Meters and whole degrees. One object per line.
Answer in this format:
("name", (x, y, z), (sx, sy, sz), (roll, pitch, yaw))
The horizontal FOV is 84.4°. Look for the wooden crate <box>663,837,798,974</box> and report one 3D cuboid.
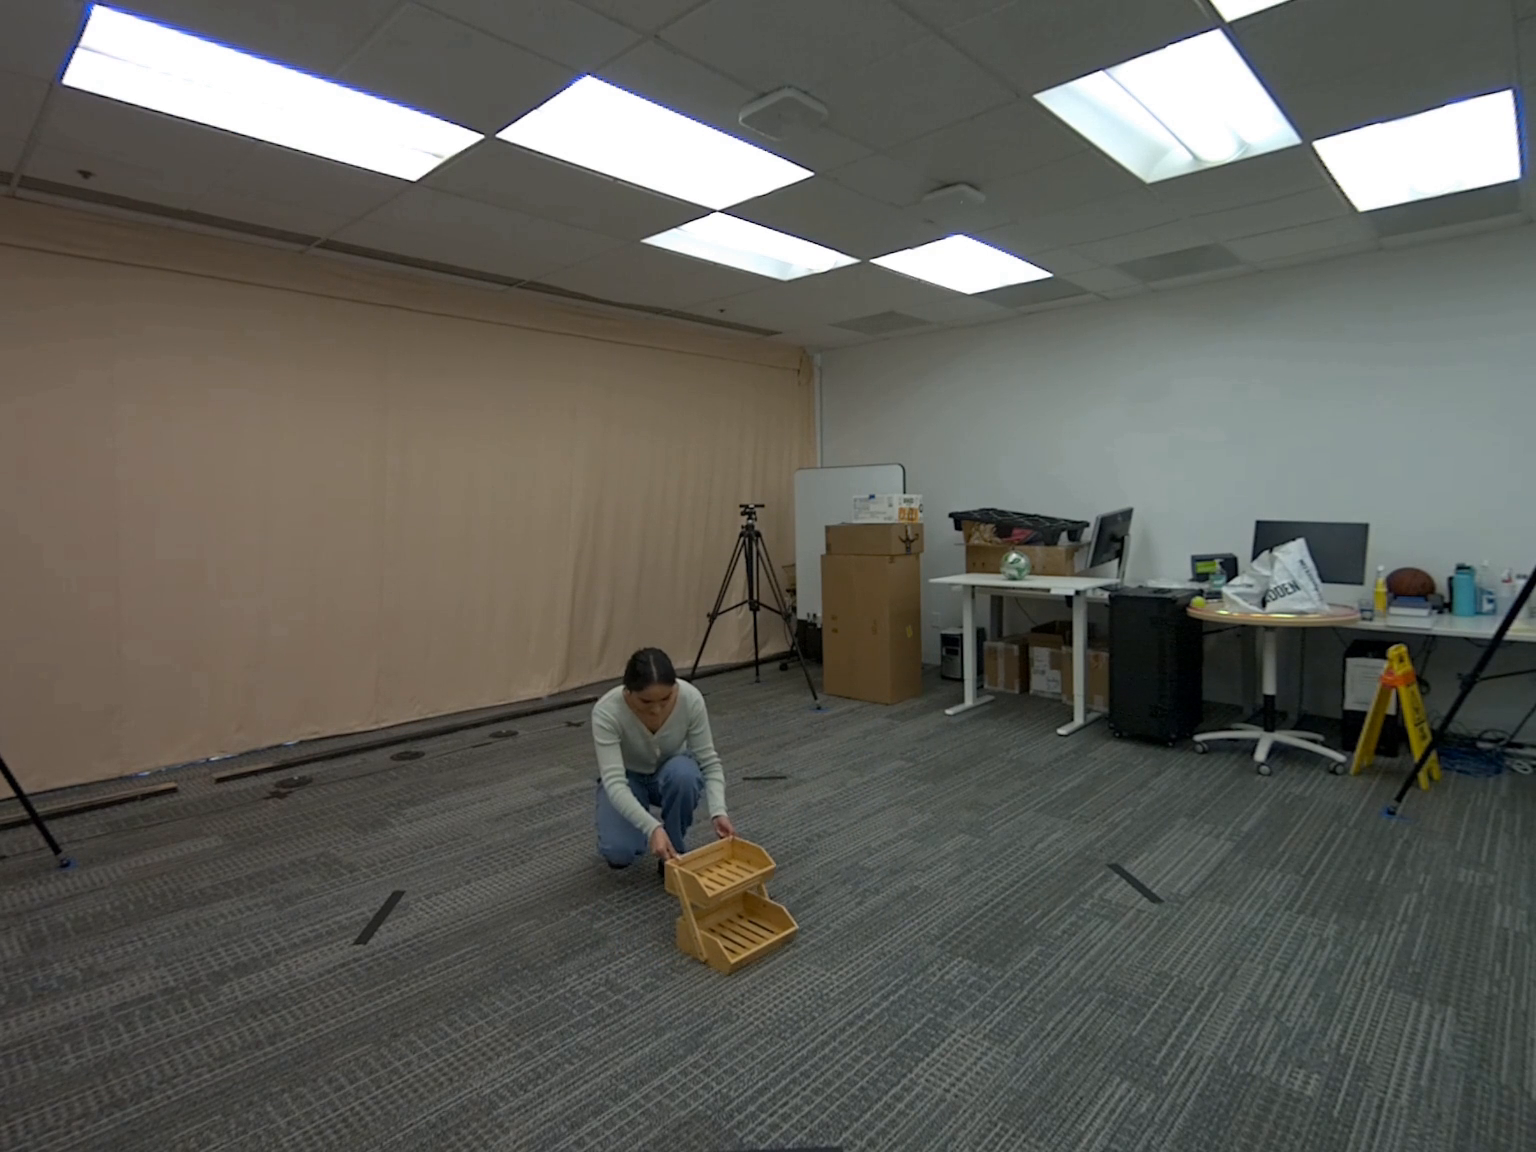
("wooden crate", (-0.109, 1.034, 2.676), (0.314, 0.273, 0.312), (-5, 5, -45))
